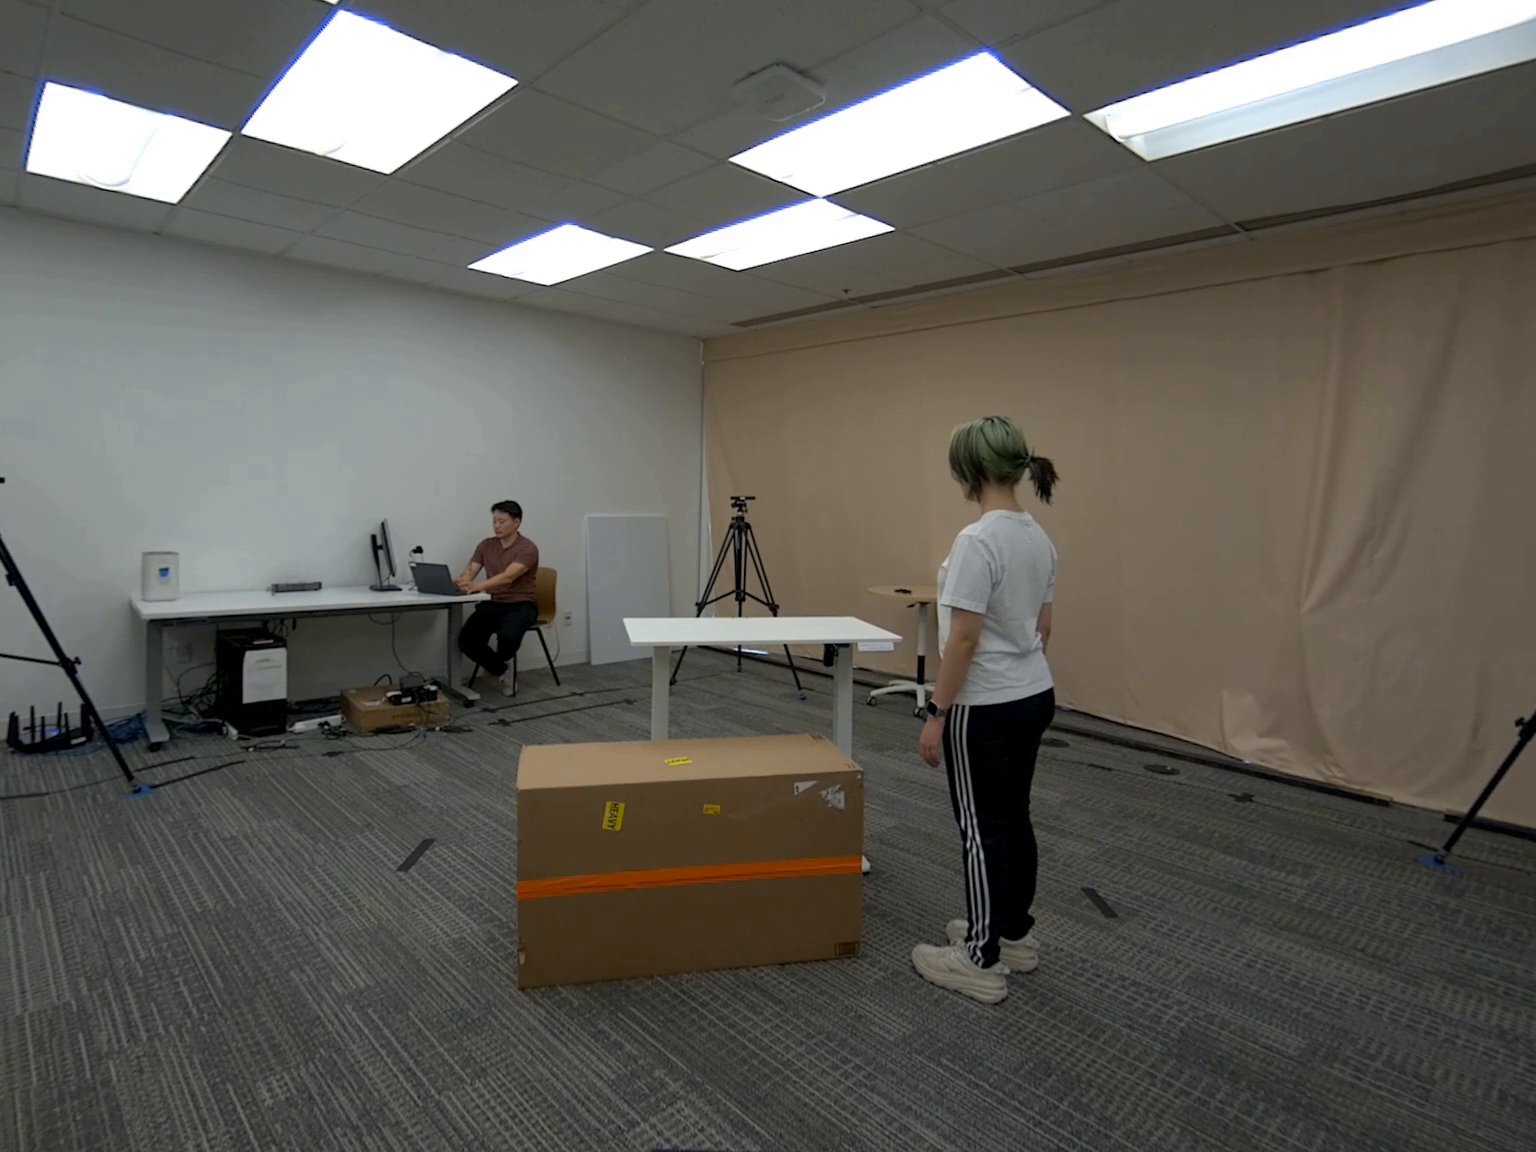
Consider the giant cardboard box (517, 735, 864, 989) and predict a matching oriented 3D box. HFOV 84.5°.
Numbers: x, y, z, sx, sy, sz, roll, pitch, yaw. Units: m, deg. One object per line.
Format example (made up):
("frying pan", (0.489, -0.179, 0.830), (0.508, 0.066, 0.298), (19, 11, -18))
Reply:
("giant cardboard box", (-0.265, 0.854, 2.649), (1.017, 0.582, 0.452), (0, 4, -13))
